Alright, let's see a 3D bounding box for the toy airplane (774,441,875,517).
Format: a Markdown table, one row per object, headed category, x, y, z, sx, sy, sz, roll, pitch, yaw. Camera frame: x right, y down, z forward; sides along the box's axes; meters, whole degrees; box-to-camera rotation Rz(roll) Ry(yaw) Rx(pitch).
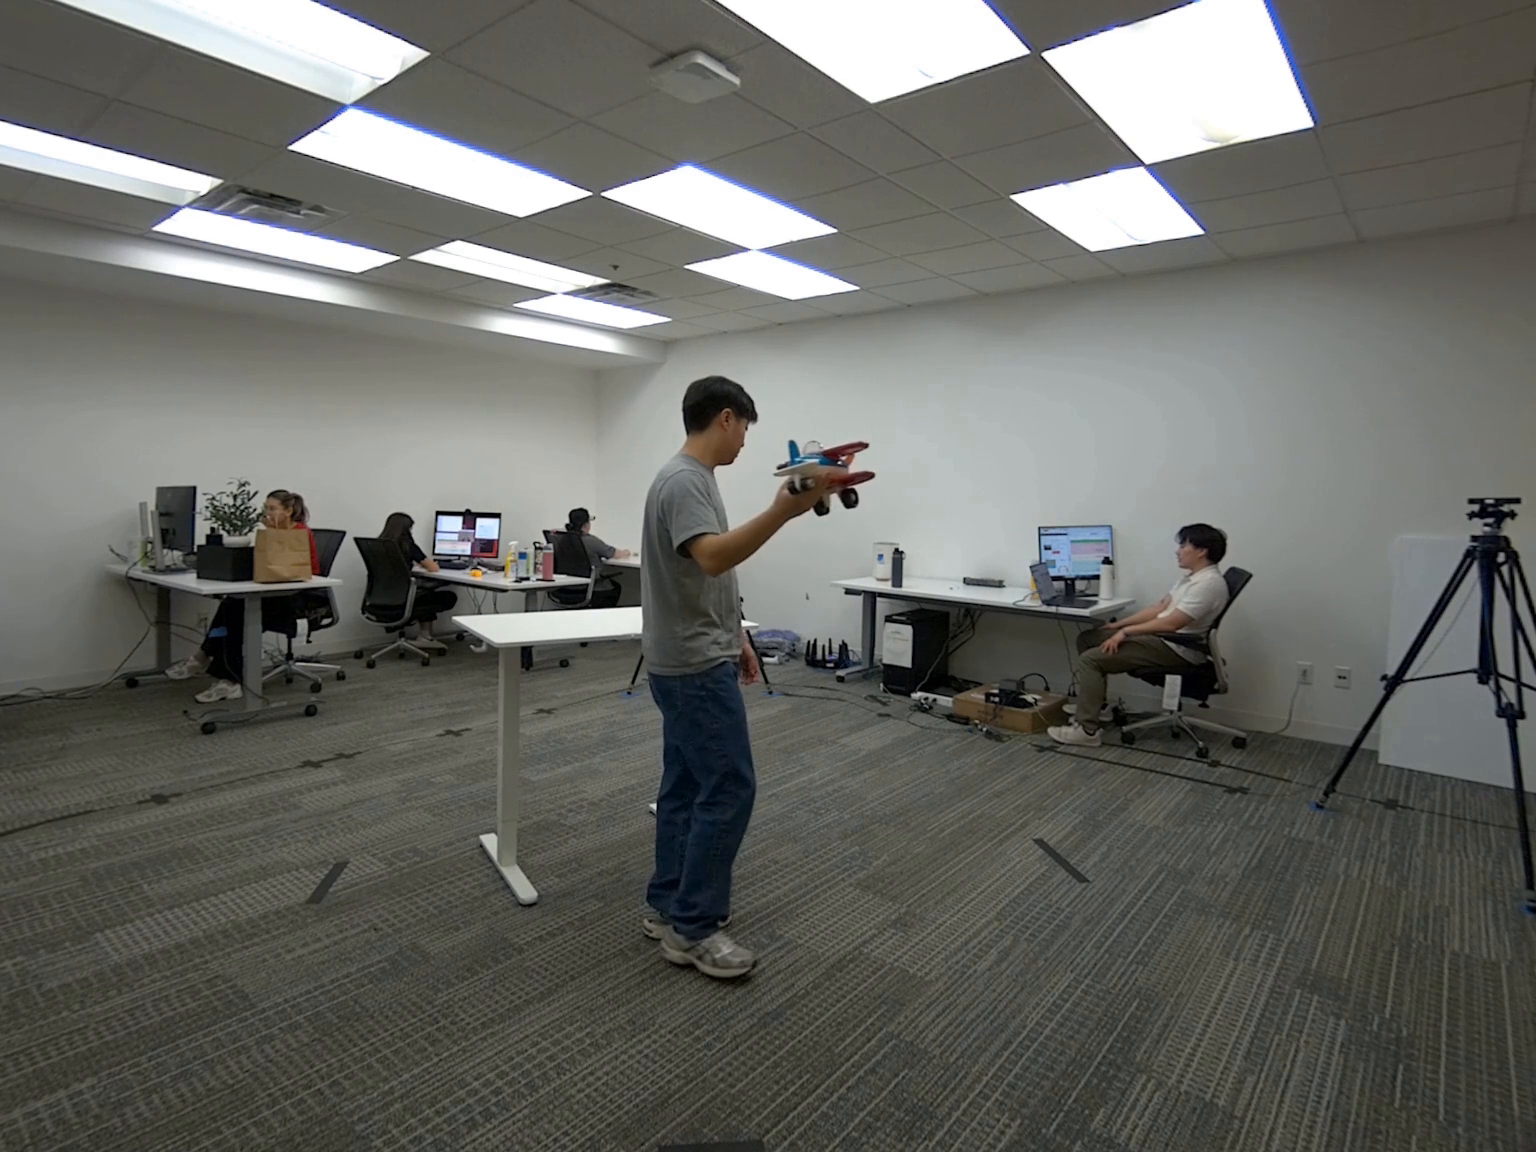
| category | x | y | z | sx | sy | sz | roll | pitch | yaw |
| --- | --- | --- | --- | --- | --- | --- | --- | --- | --- |
| toy airplane | 0.136 | -0.260 | 2.145 | 0.253 | 0.159 | 0.253 | -4 | -18 | 6 |
